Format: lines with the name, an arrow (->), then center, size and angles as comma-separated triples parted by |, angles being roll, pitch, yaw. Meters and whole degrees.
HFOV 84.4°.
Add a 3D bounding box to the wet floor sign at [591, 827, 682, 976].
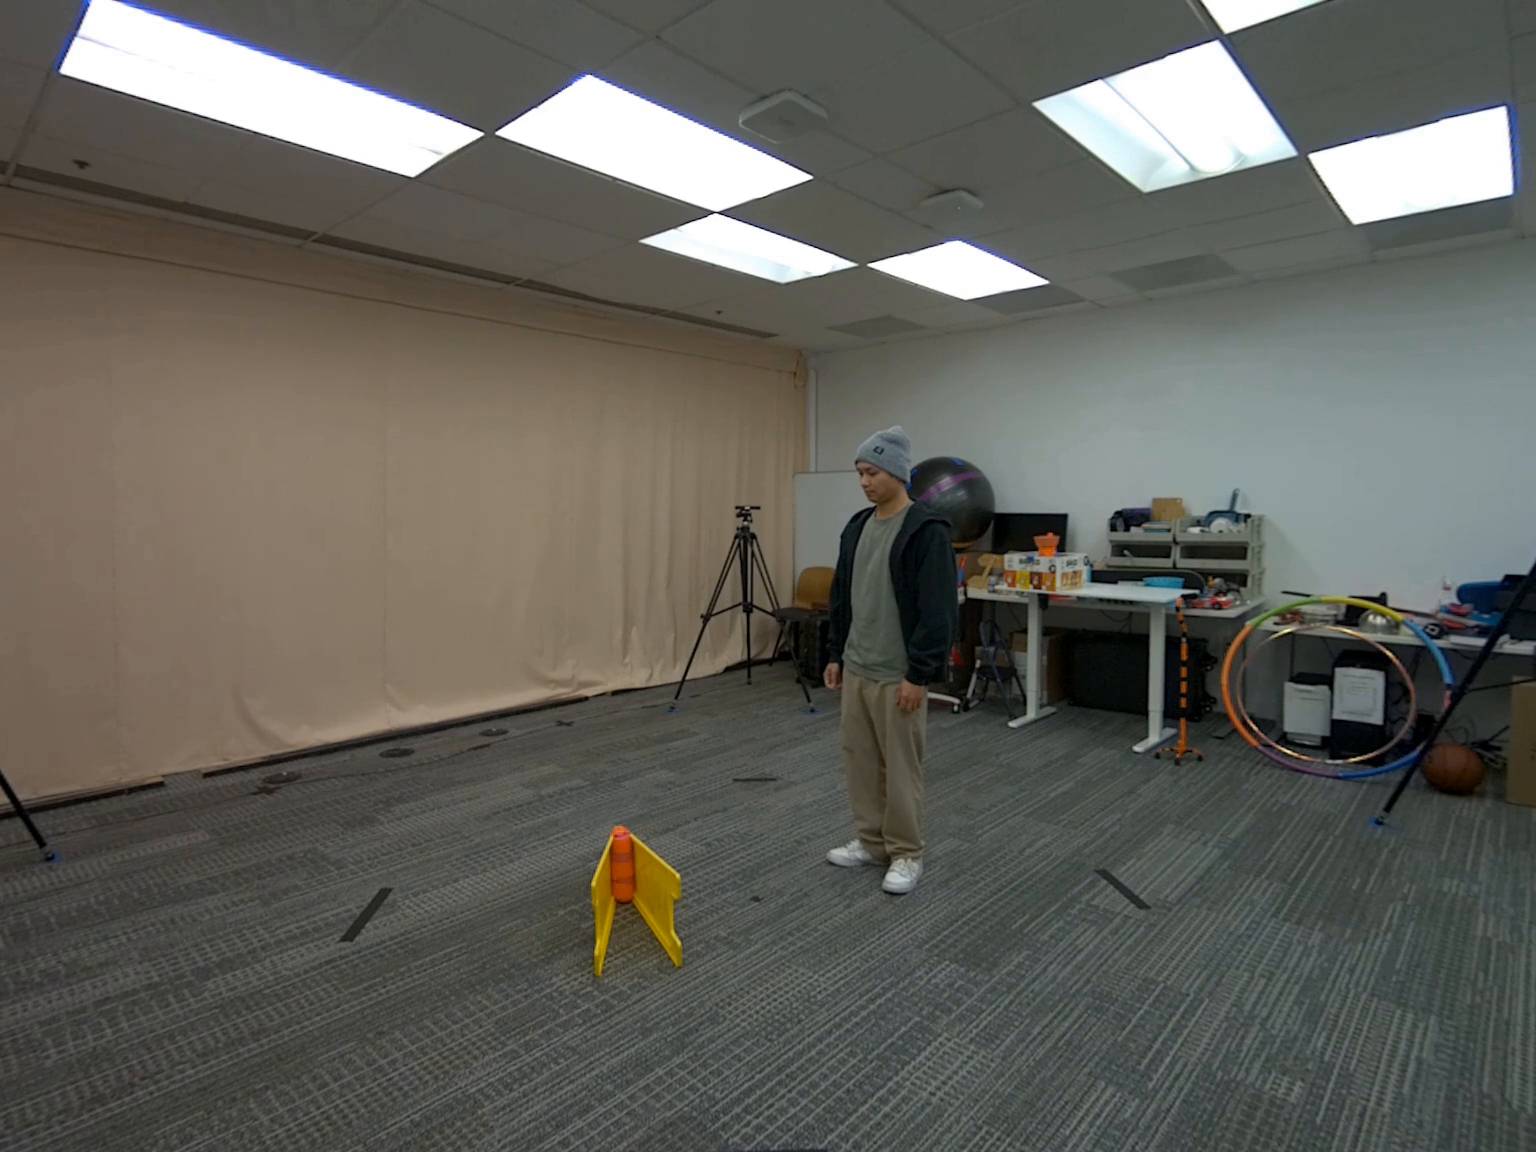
wet floor sign -> -0.476, 1.034, 2.823 | 0.286, 0.282, 0.655 | -1, 1, -14
